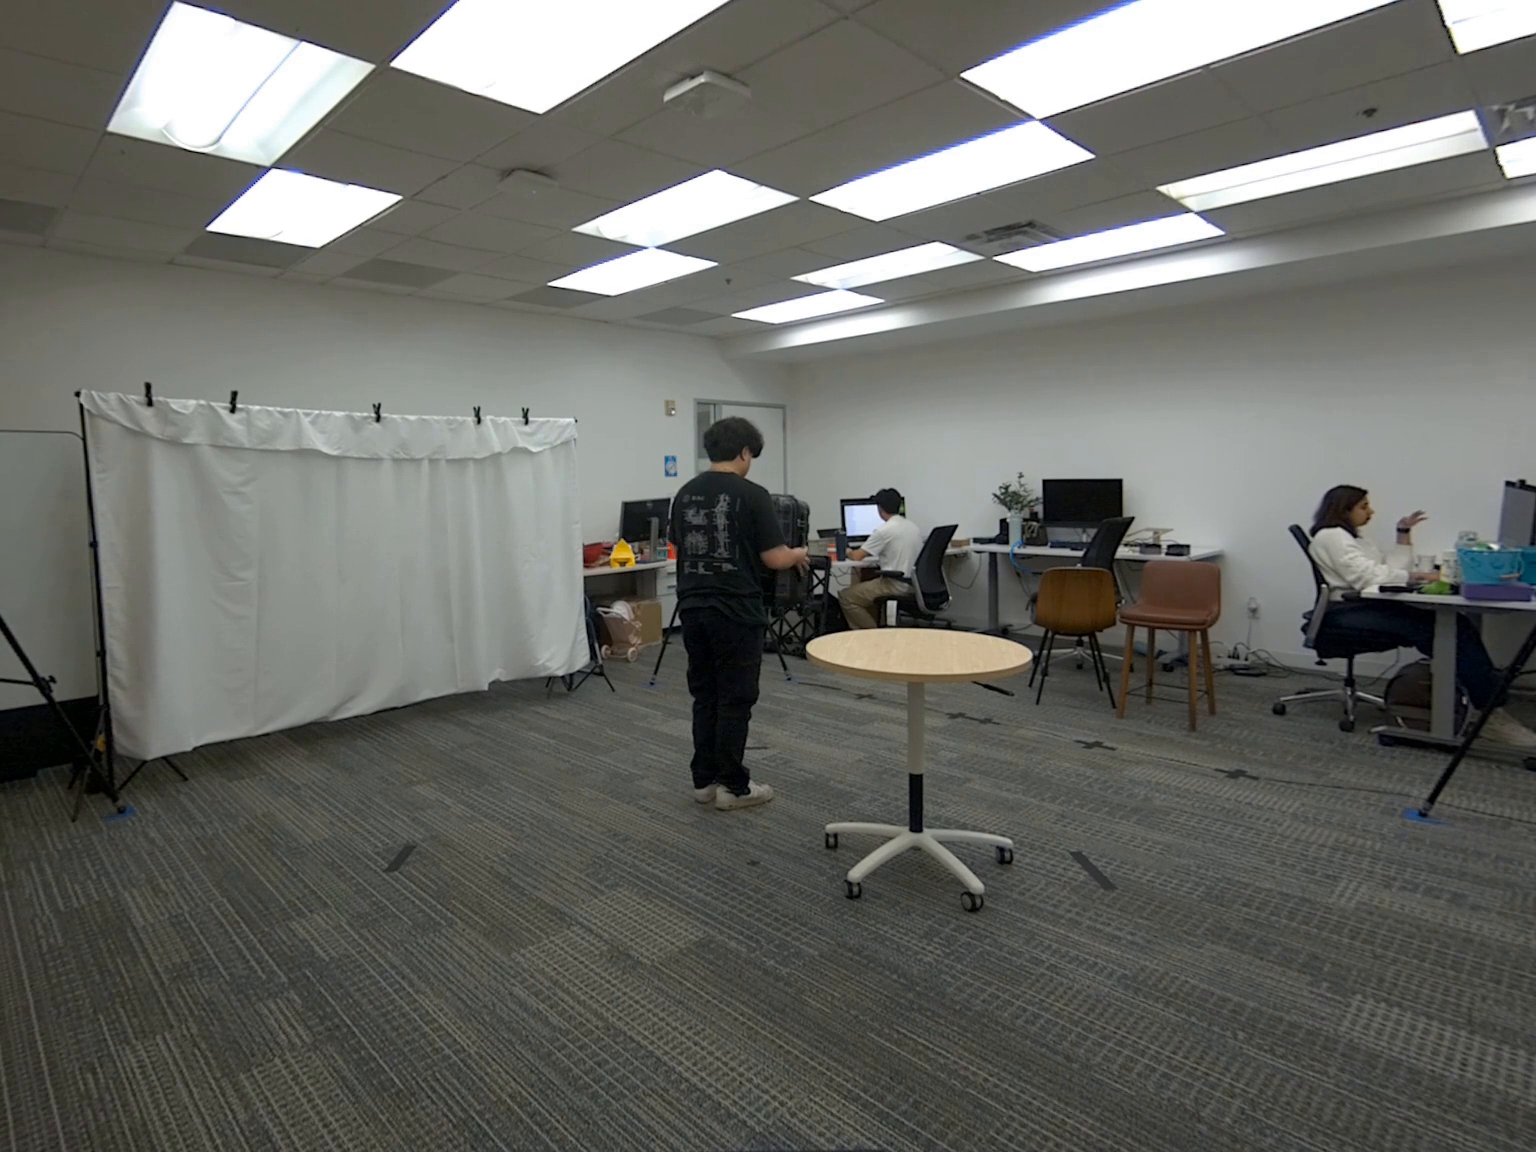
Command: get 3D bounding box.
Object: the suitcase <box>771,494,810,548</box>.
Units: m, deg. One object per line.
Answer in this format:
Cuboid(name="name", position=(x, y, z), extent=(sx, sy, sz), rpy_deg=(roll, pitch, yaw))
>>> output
Cuboid(name="suitcase", position=(-0.007, -0.095, 3.914), extent=(0.386, 0.549, 0.241), rpy_deg=(3, 1, 38))
